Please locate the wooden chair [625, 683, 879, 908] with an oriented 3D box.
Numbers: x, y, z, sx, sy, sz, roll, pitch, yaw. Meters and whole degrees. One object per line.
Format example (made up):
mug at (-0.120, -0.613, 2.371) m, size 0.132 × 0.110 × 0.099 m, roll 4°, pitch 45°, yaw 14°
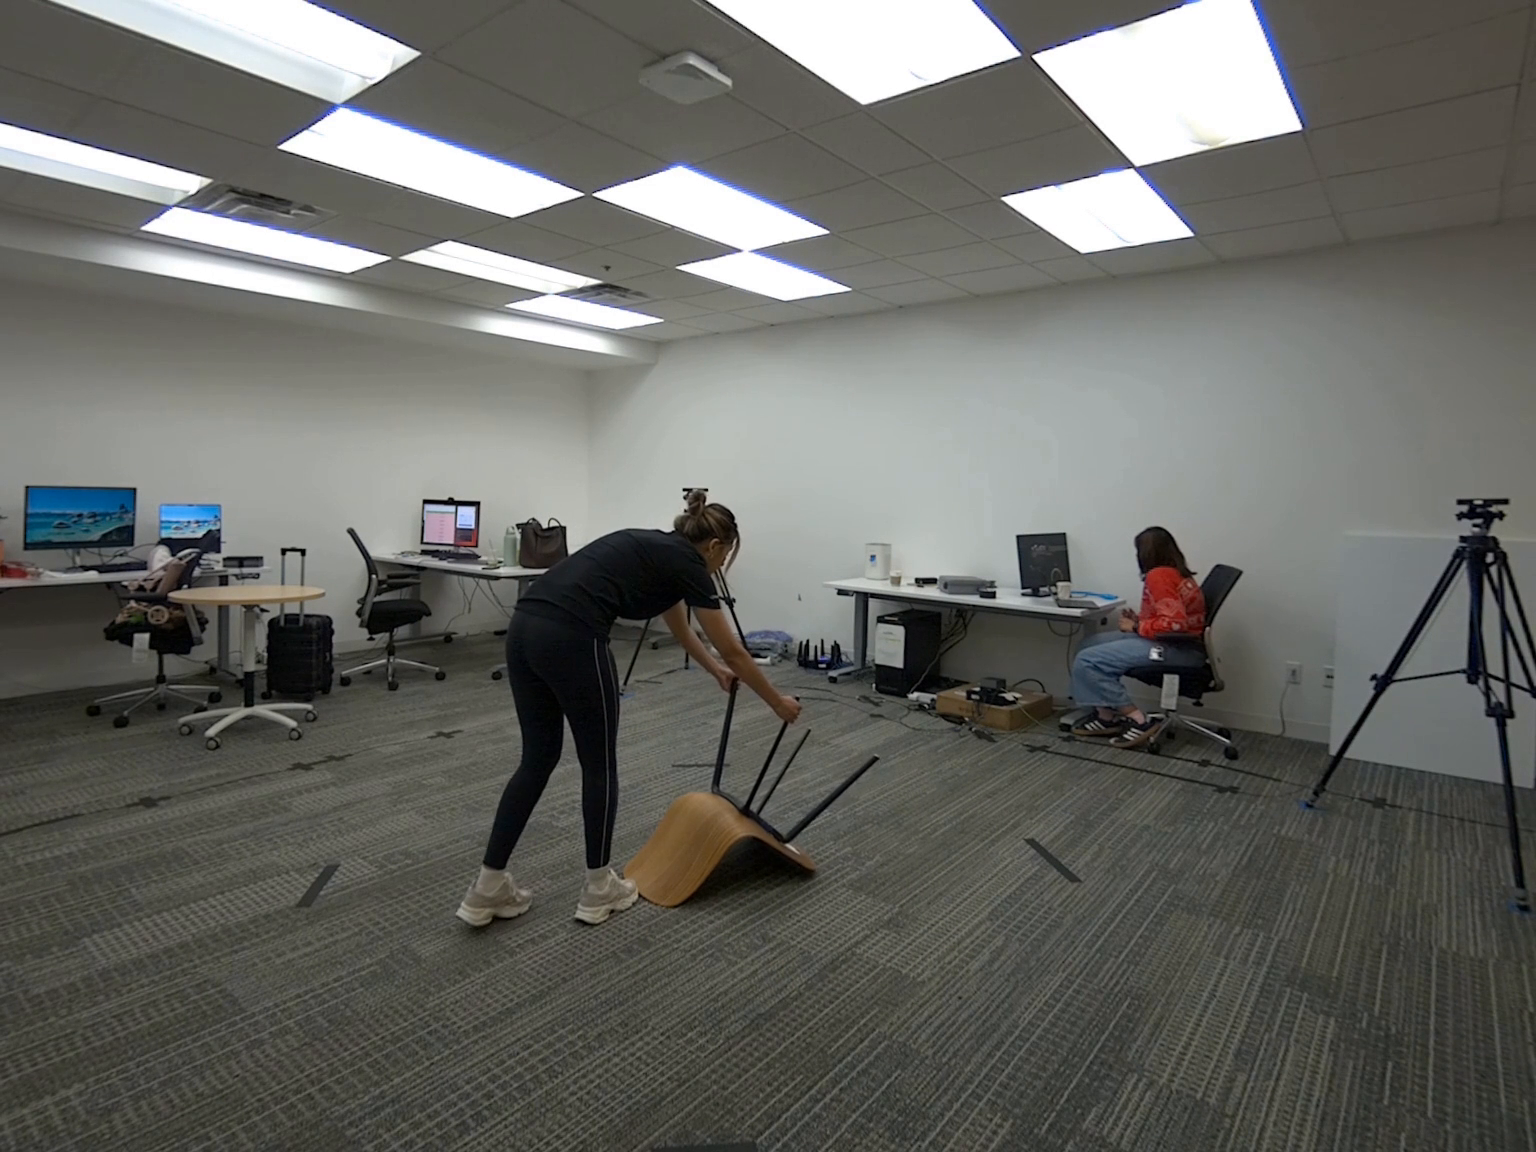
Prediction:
wooden chair at (-0.075, 0.889, 3.163) m, size 0.506 × 0.879 × 0.493 m, roll 43°, pitch -18°, yaw -26°
